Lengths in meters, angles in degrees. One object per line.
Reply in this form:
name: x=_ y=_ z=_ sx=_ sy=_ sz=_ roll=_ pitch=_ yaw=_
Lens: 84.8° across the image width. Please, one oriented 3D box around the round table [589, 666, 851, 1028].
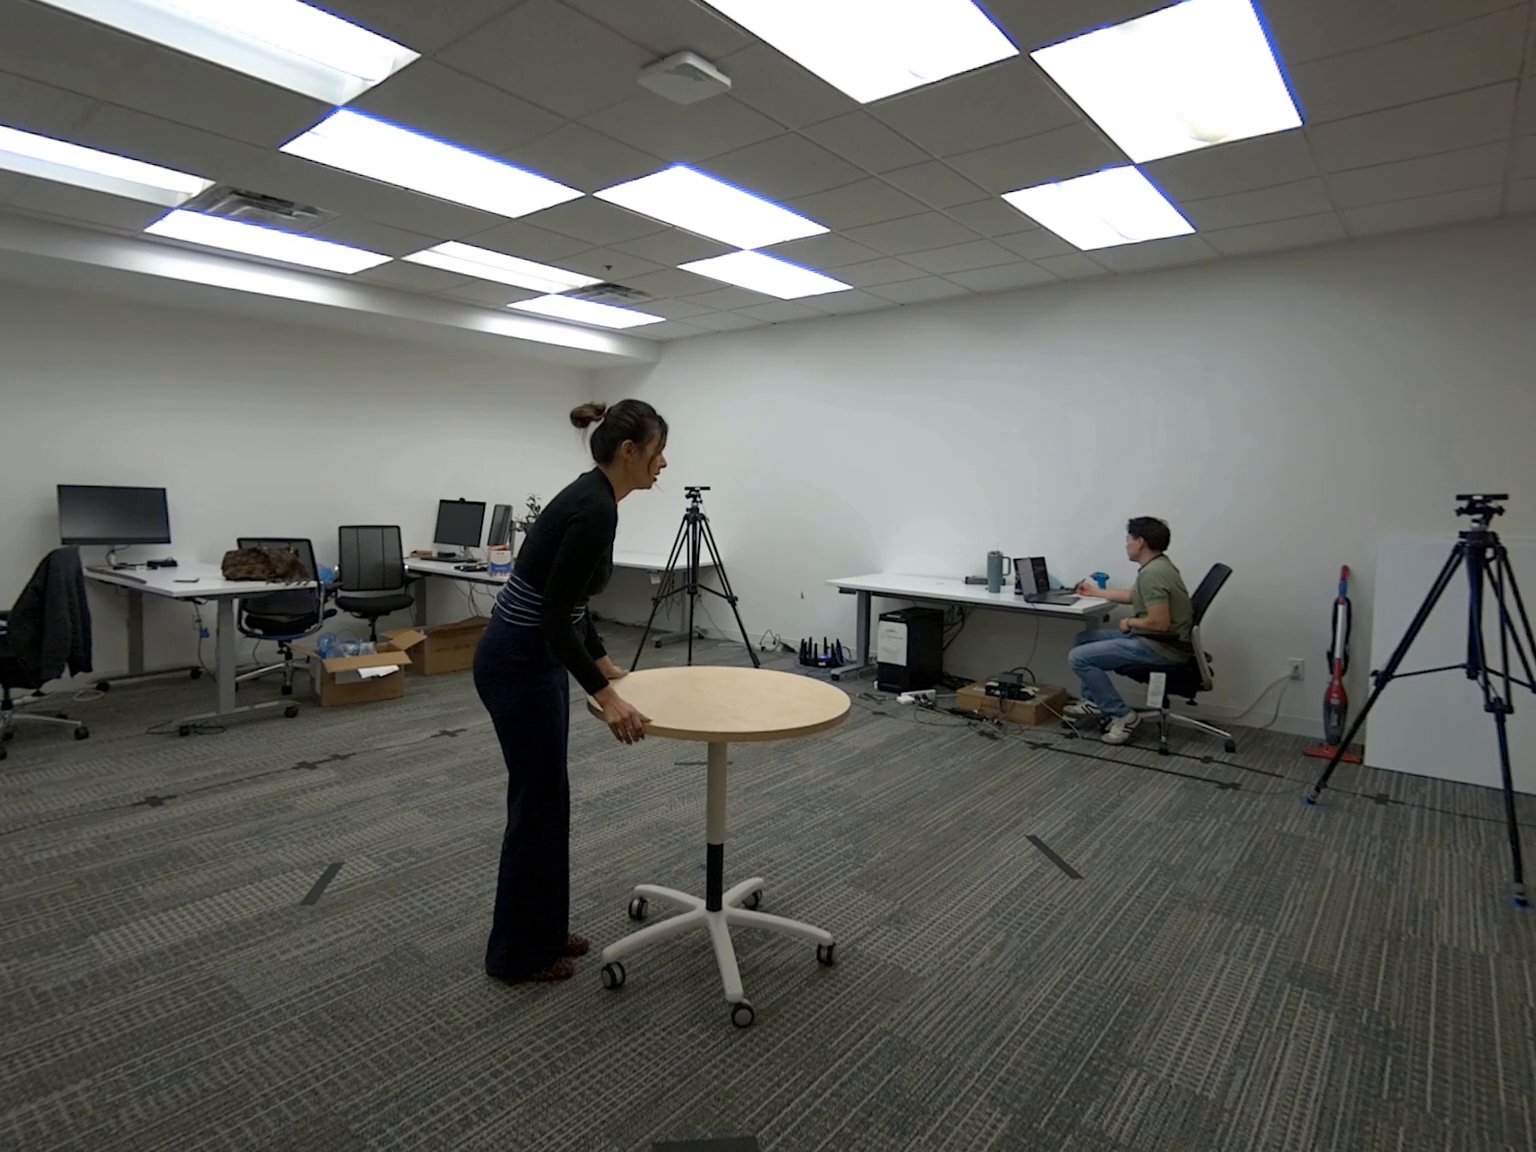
round table: x=-0.163 y=0.740 z=2.512 sx=0.763 sy=0.791 sz=0.768 roll=1 pitch=5 yaw=-2
